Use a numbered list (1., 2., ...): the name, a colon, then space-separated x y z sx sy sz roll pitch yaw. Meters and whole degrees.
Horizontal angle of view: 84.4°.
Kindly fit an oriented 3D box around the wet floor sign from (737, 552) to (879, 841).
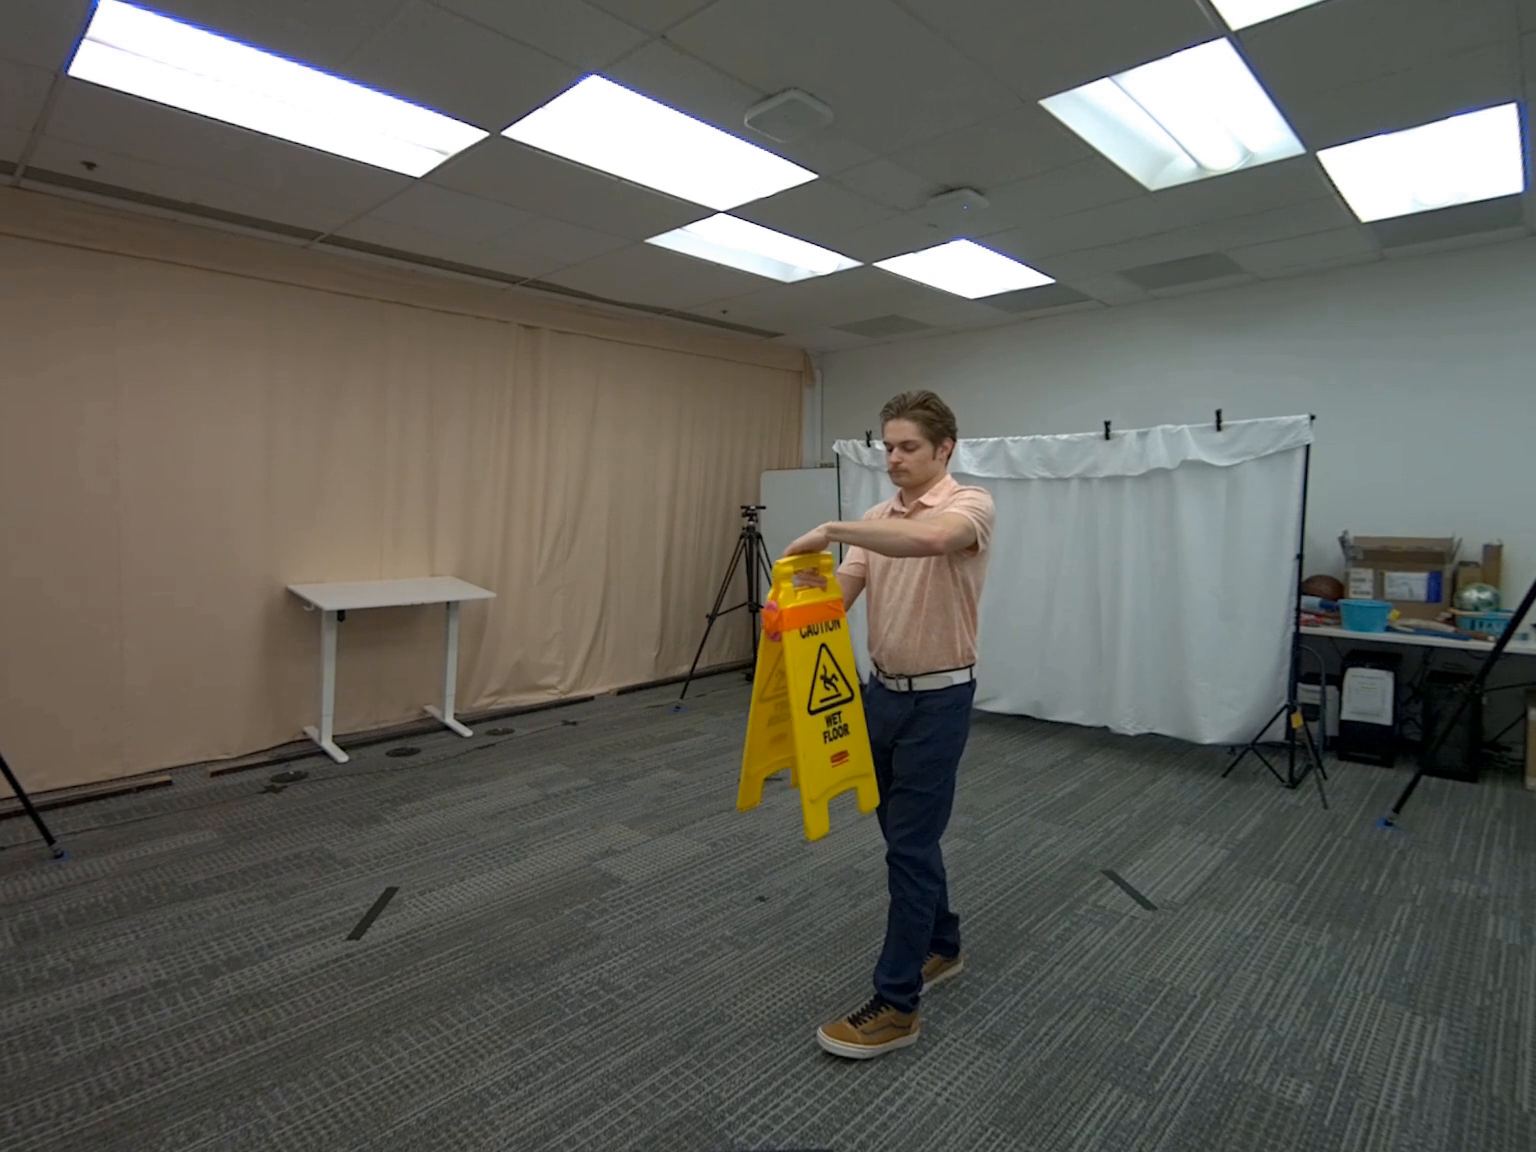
1. wet floor sign: 0.100 0.274 2.089 0.274 0.642 0.300 -9 11 -43
